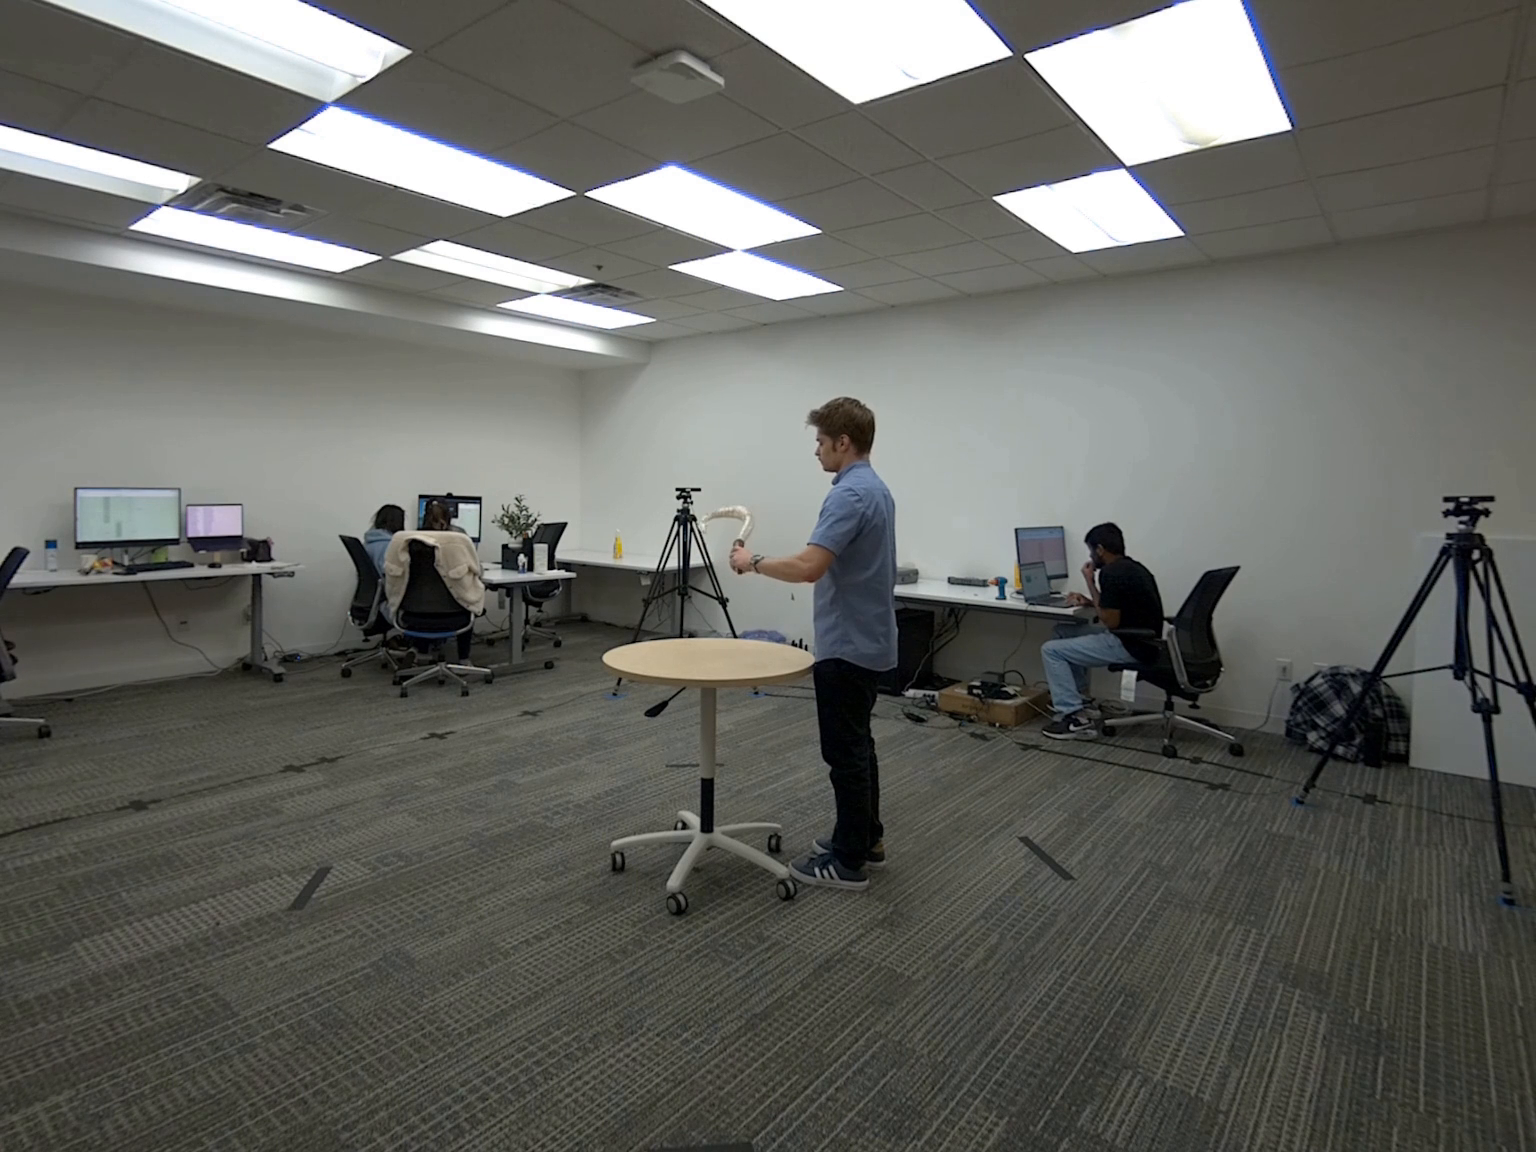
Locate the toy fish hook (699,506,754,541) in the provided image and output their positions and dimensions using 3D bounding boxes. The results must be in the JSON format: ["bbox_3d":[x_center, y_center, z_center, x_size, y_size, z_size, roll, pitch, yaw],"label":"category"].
[{"bbox_3d":[-0.166,-0.143,3.221,0.225,0.047,0.519,-10,30,3],"label":"toy fish hook"}]
